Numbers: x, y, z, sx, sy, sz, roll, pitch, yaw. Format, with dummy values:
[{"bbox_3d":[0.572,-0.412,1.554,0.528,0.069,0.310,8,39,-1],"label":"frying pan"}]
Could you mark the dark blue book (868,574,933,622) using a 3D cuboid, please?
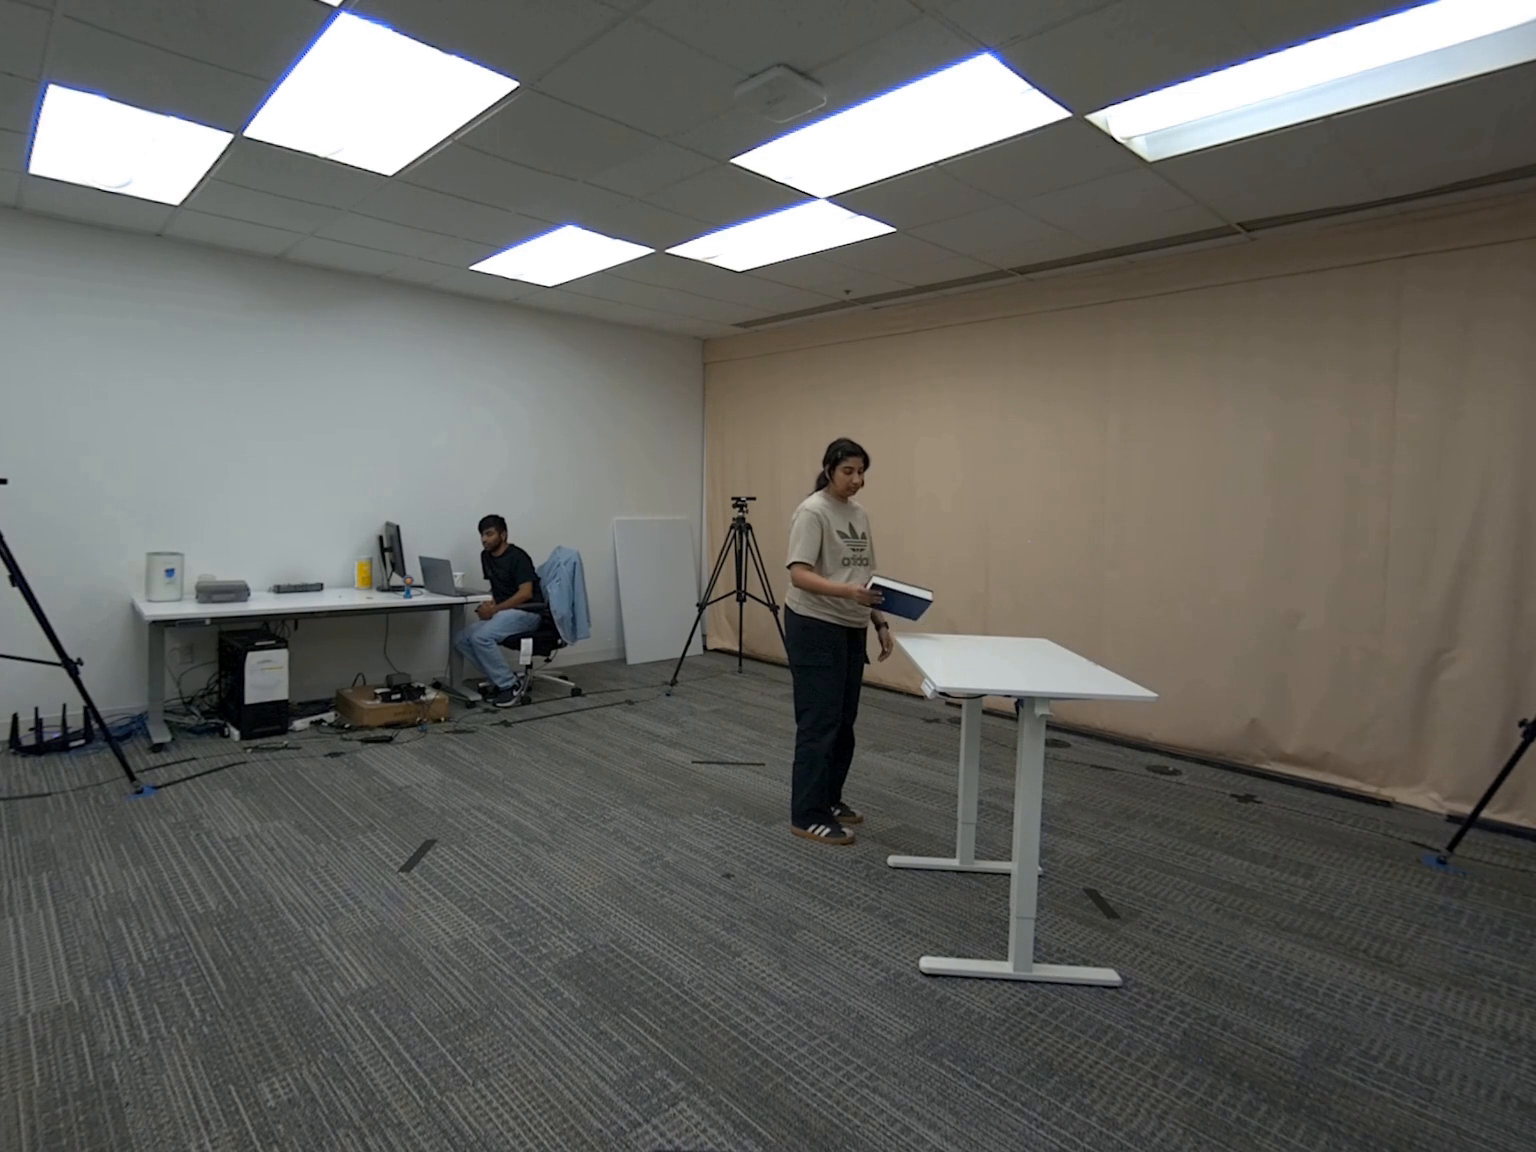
[{"bbox_3d":[0.491,0.084,3.261,0.245,0.046,0.161,17,-35,-1],"label":"dark blue book"}]
